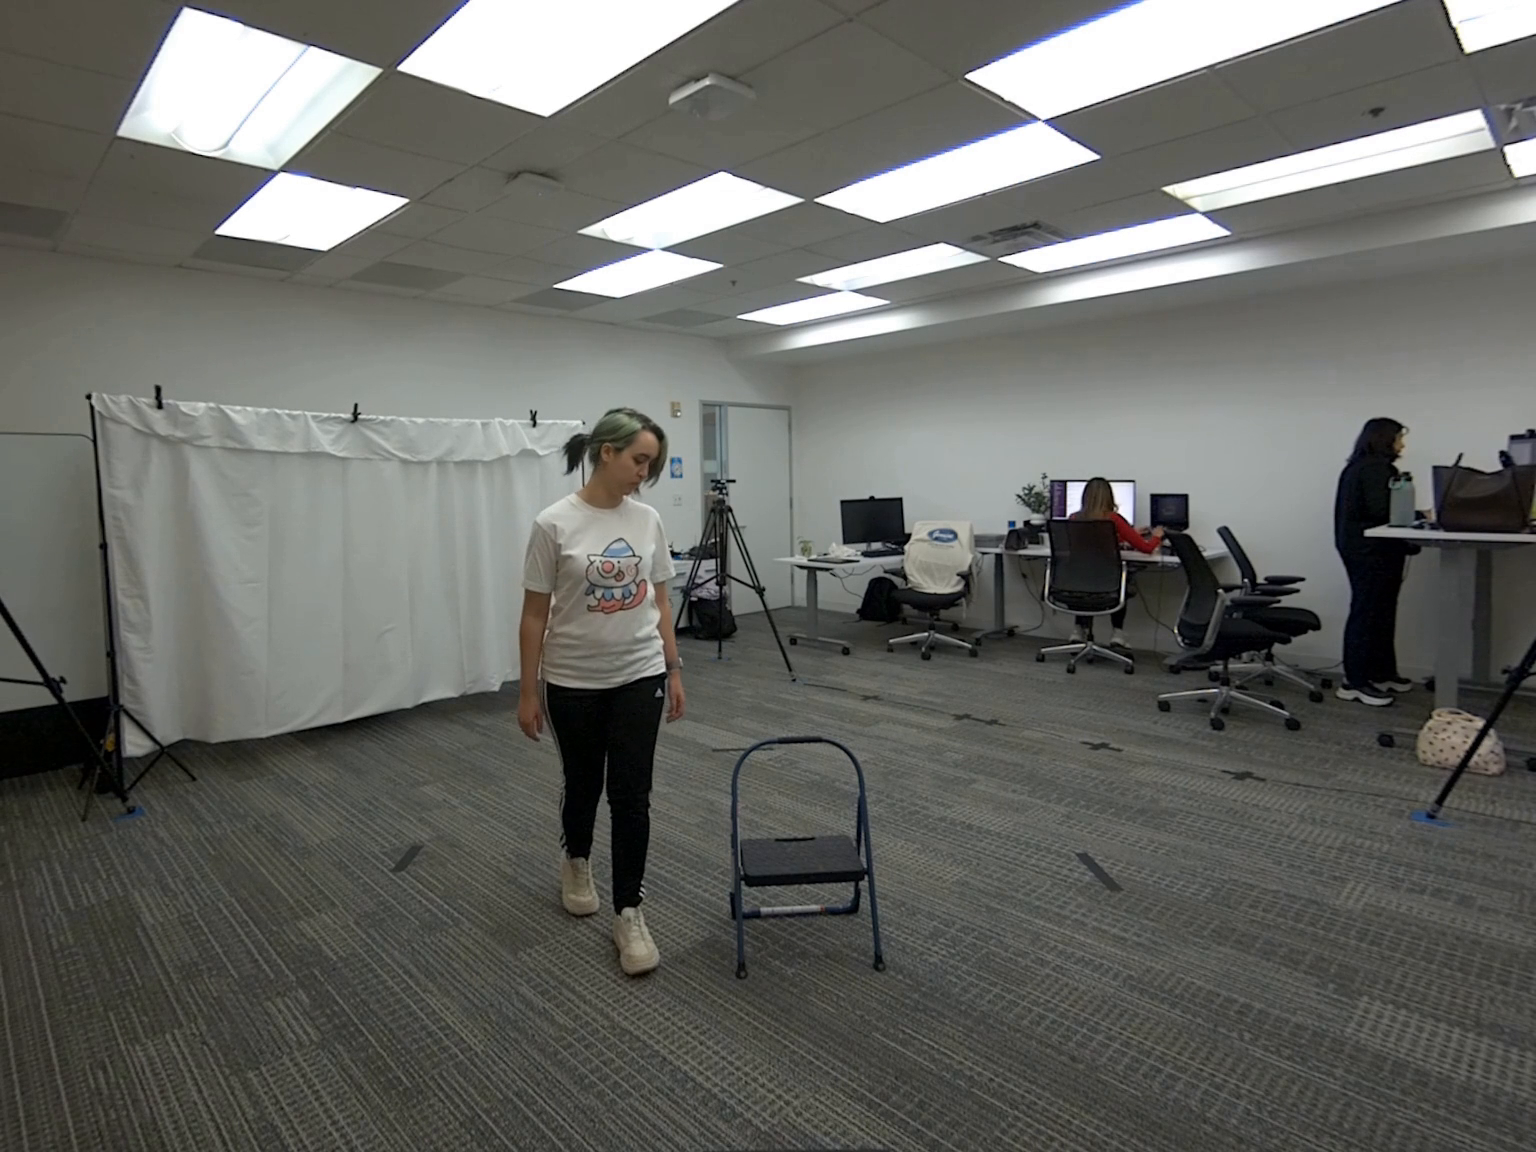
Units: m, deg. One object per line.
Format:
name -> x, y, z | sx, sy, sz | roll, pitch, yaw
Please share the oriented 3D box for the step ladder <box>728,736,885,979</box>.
step ladder -> 0.103, 0.806, 2.563 | 0.429, 0.604, 0.352 | -2, 4, -5
